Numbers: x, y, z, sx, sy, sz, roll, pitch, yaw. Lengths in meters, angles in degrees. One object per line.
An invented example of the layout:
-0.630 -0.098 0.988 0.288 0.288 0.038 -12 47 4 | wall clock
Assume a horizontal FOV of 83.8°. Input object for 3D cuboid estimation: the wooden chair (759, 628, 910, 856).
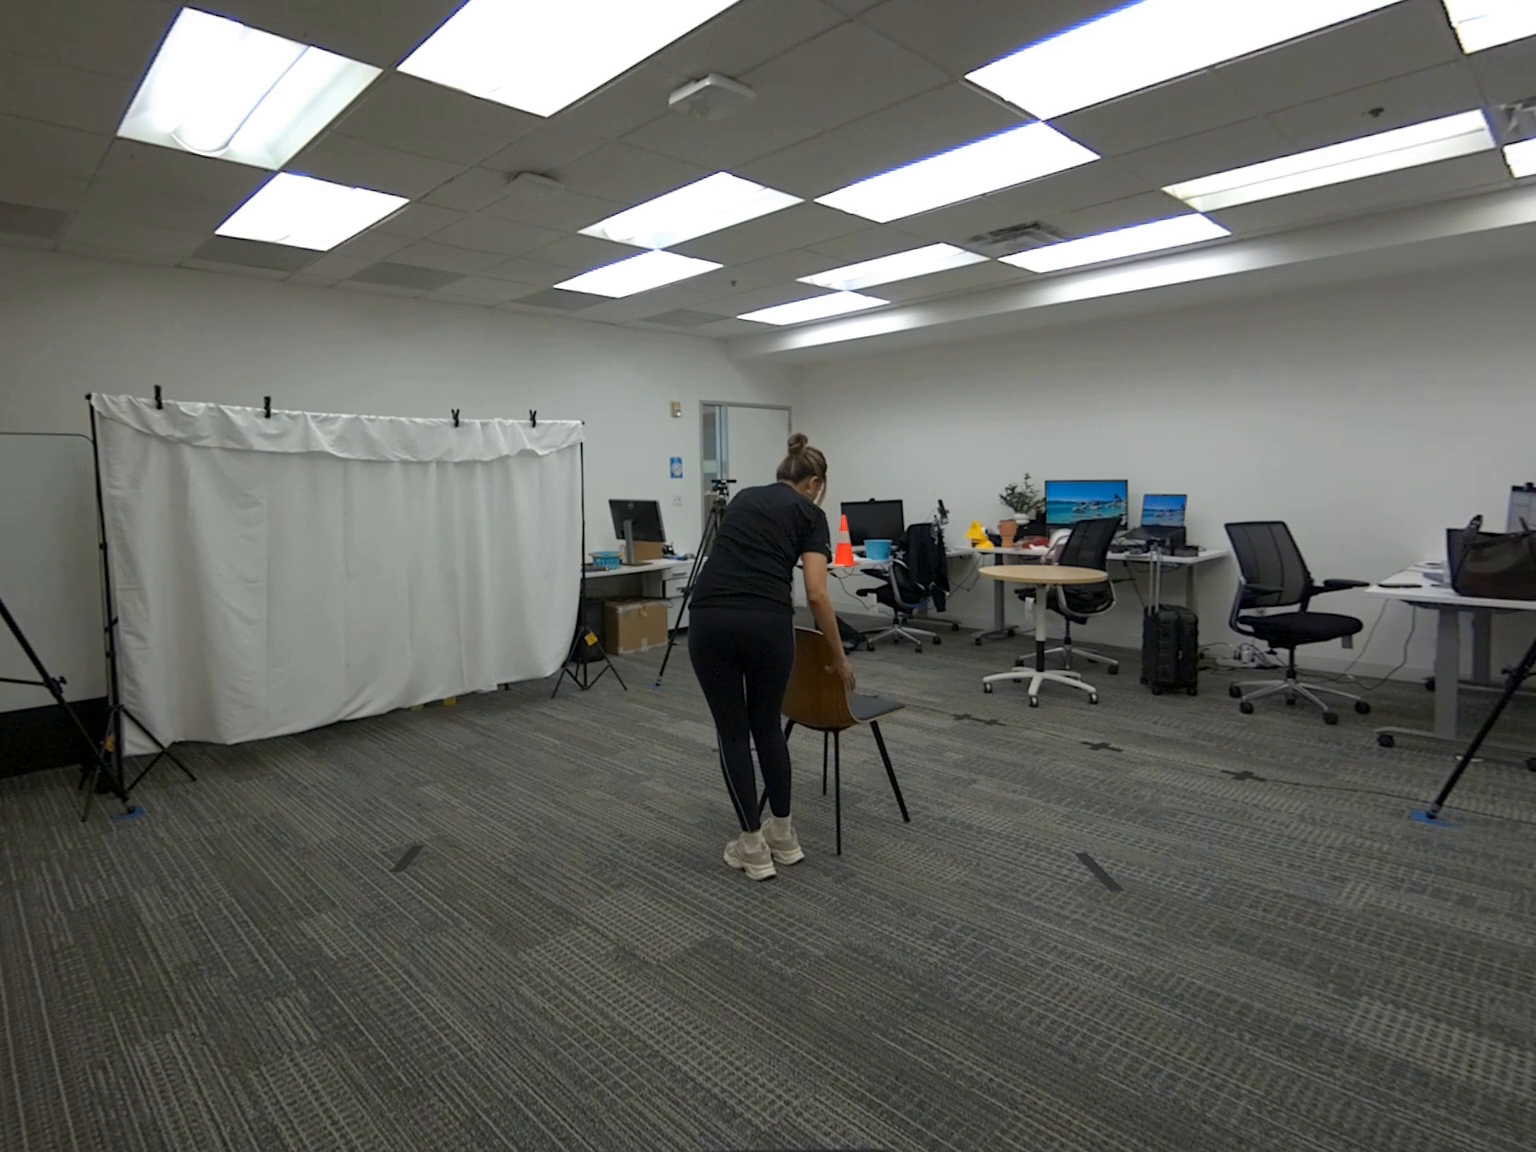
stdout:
0.260 0.575 3.451 0.511 0.871 0.493 -11 10 -44 | wooden chair
